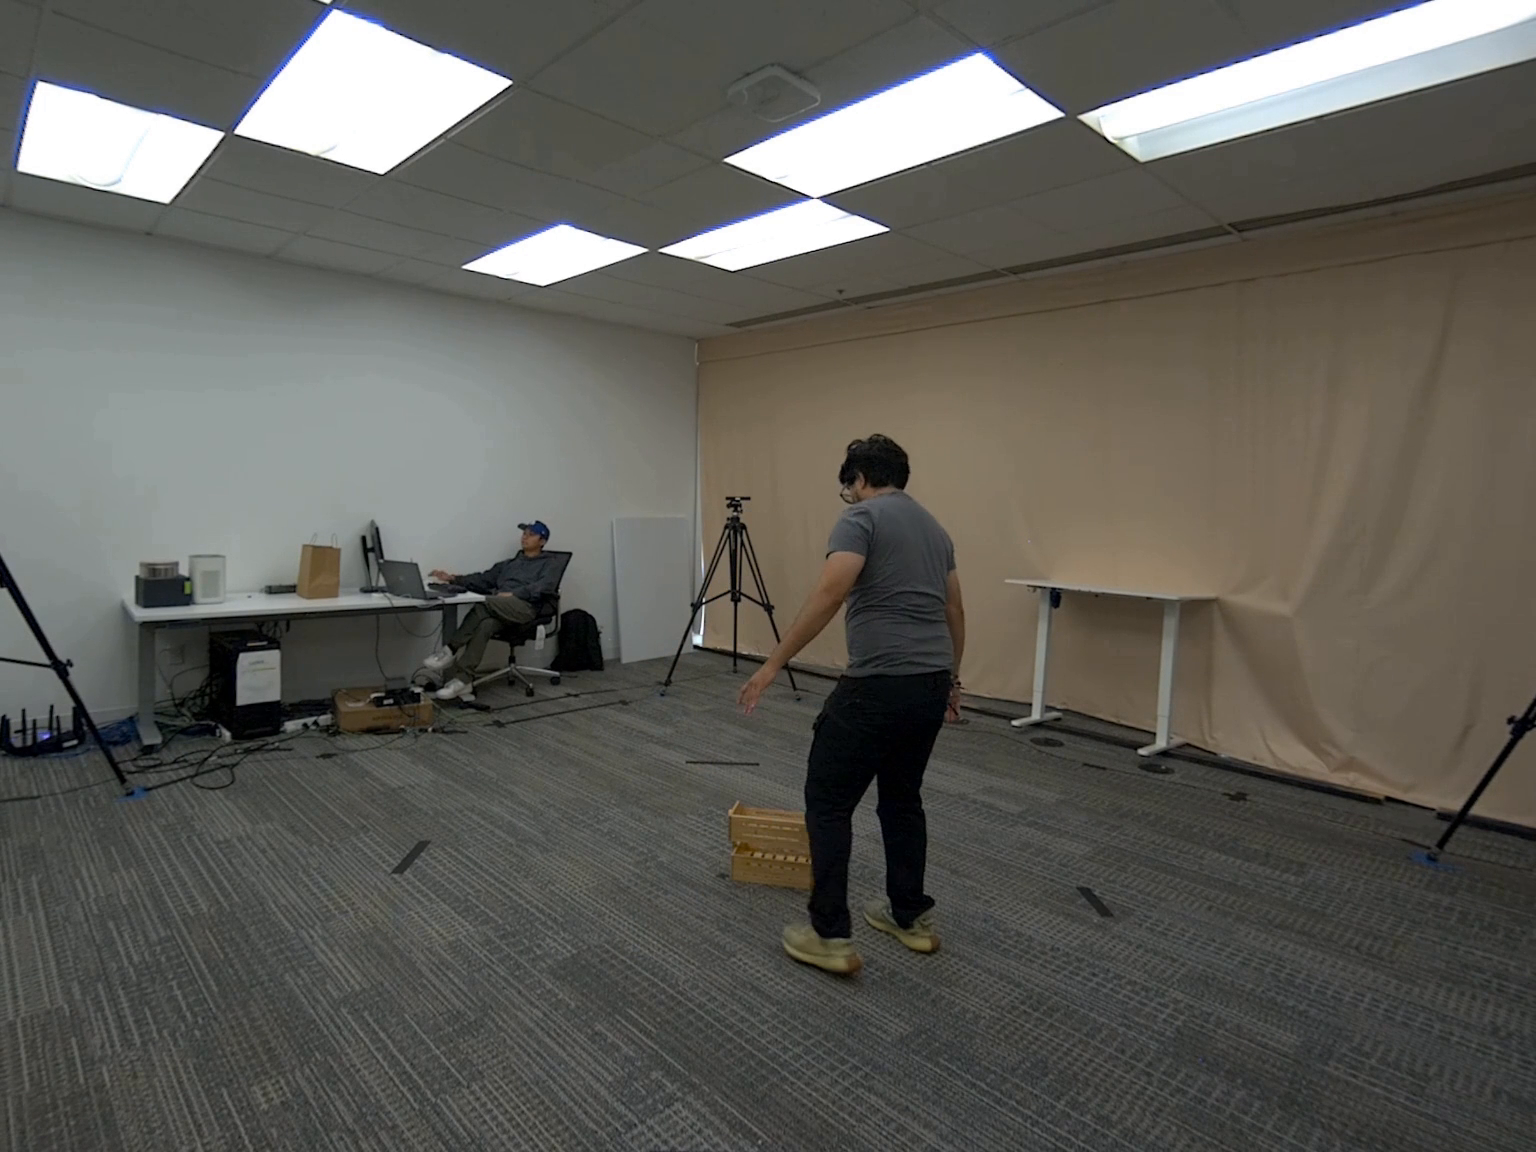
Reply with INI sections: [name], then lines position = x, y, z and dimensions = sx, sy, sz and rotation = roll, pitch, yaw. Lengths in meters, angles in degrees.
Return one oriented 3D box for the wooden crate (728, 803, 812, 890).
[wooden crate]
position = 0.024, 0.976, 3.131
dimensions = 0.327, 0.272, 0.300
rotation = 3, 5, 10
